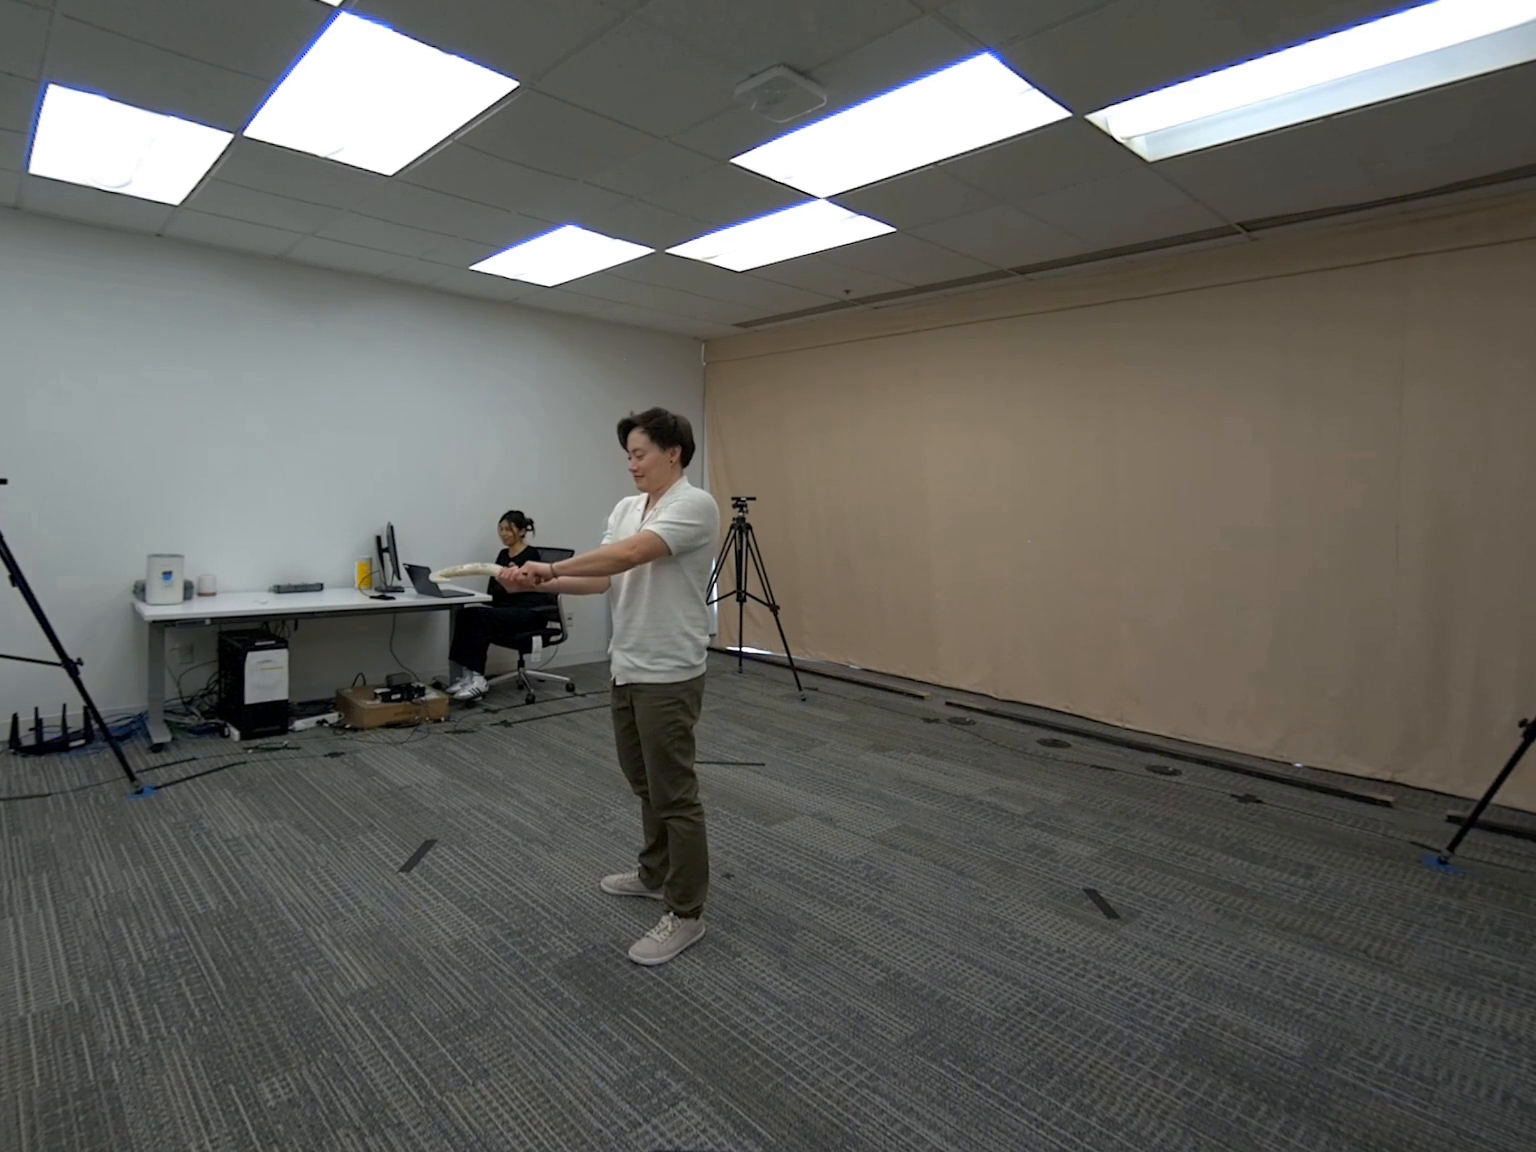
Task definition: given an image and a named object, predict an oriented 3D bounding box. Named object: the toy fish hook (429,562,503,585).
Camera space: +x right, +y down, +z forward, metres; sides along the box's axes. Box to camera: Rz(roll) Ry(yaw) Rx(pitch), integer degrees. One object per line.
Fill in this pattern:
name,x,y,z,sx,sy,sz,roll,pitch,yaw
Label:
toy fish hook,-0.886,0.016,2.564,0.519,0.048,0.221,4,17,44
